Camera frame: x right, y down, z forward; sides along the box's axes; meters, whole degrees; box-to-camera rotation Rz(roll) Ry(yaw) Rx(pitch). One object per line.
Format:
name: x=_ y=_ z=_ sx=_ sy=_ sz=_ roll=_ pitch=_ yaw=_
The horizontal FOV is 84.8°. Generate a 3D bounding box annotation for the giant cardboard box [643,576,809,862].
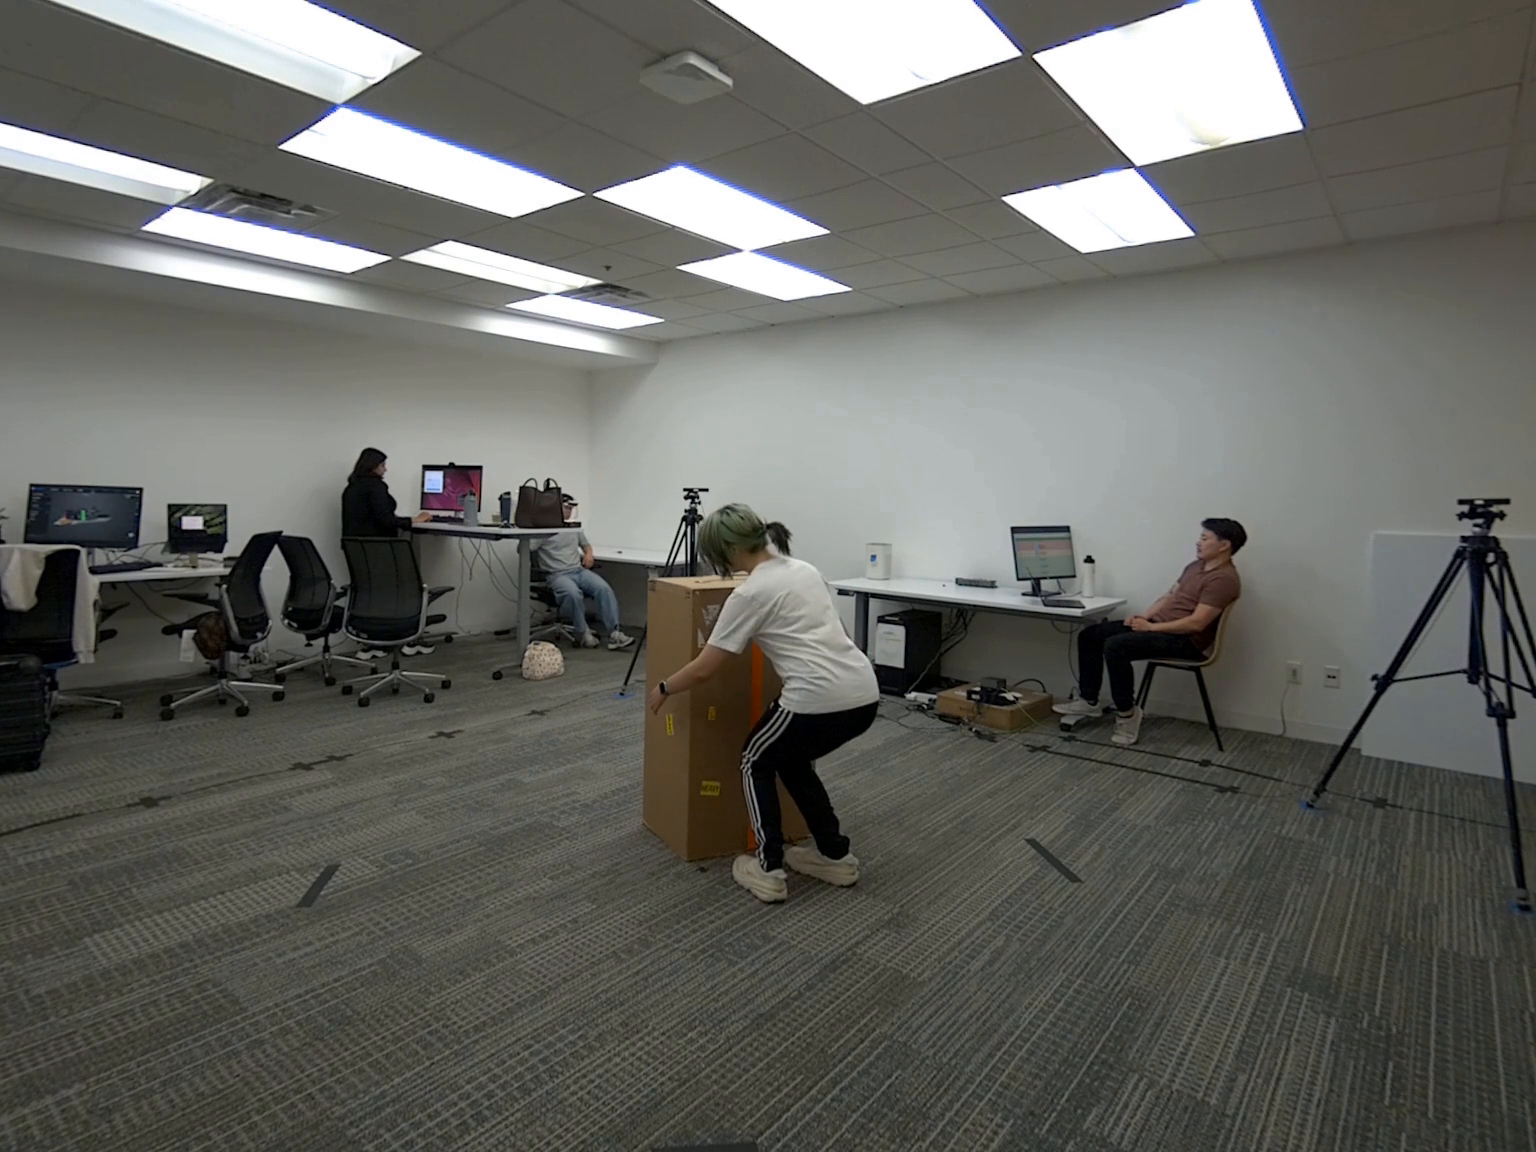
giant cardboard box: x=-0.167 y=0.530 z=3.458 sx=0.568 sy=1.025 sz=0.460 roll=0 pitch=3 yaw=-31
